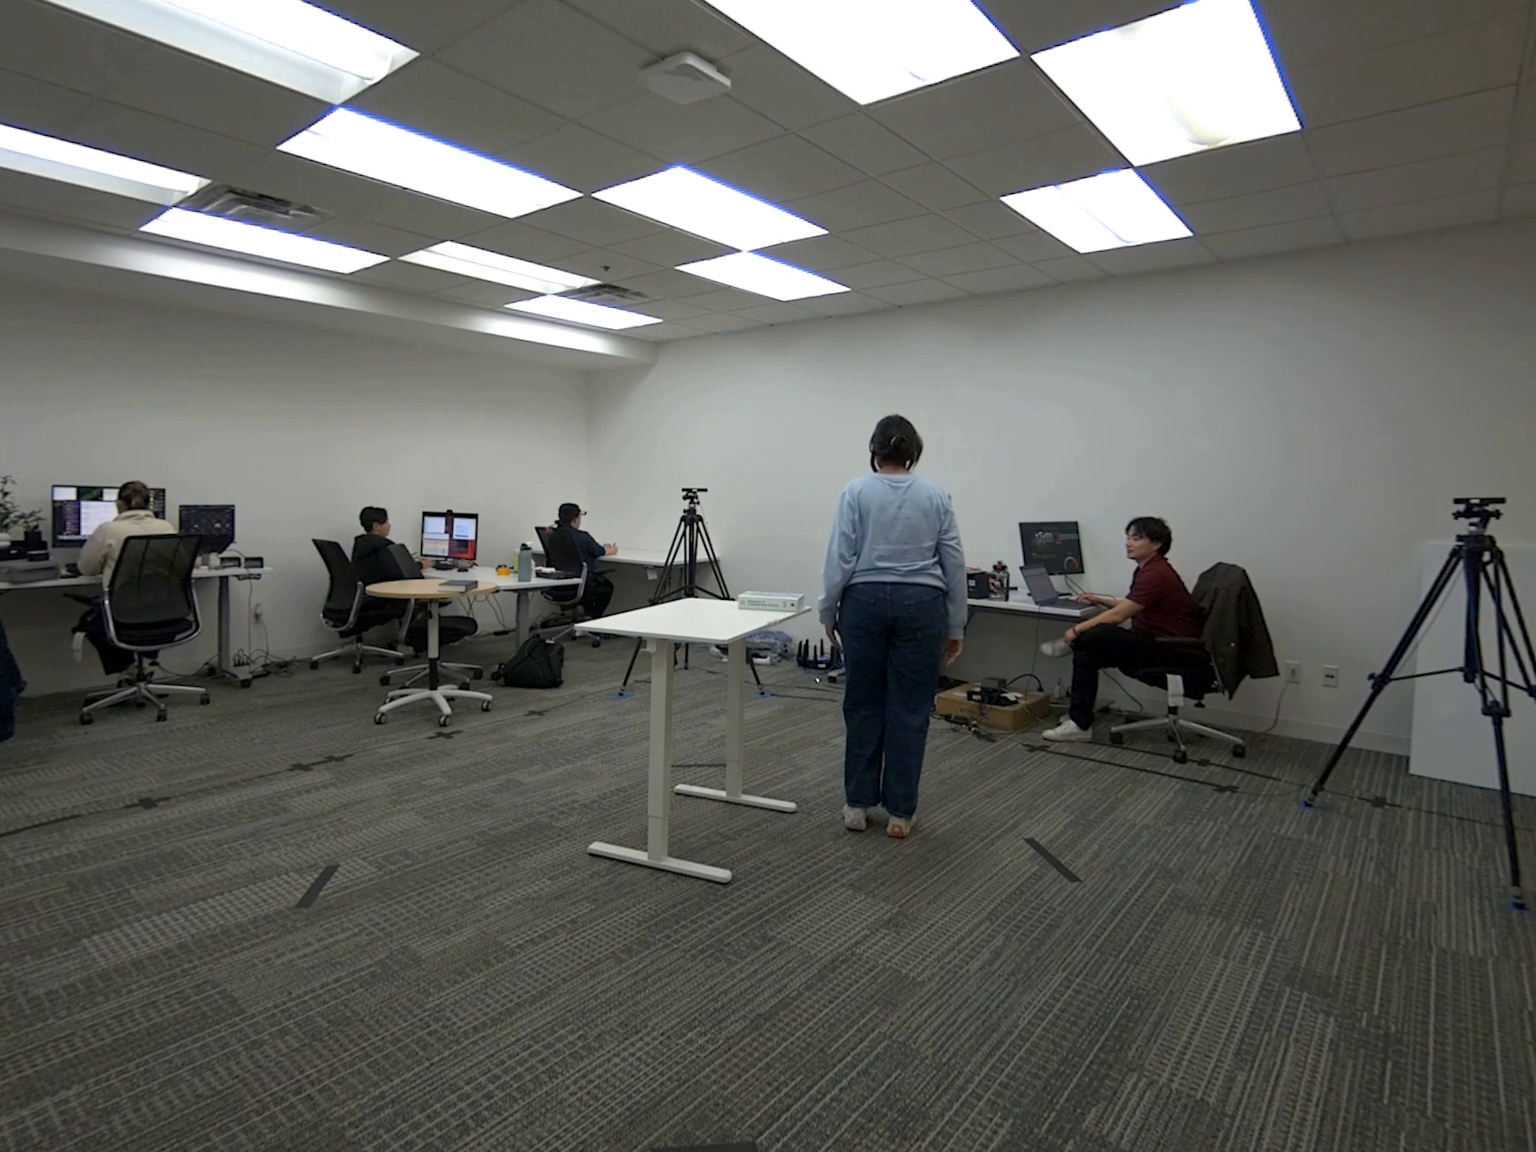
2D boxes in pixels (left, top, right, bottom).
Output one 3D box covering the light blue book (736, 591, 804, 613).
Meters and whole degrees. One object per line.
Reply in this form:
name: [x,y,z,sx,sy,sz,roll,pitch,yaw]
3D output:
light blue book: [0.004,0.106,3.723,0.265,0.059,0.189,2,6,14]
